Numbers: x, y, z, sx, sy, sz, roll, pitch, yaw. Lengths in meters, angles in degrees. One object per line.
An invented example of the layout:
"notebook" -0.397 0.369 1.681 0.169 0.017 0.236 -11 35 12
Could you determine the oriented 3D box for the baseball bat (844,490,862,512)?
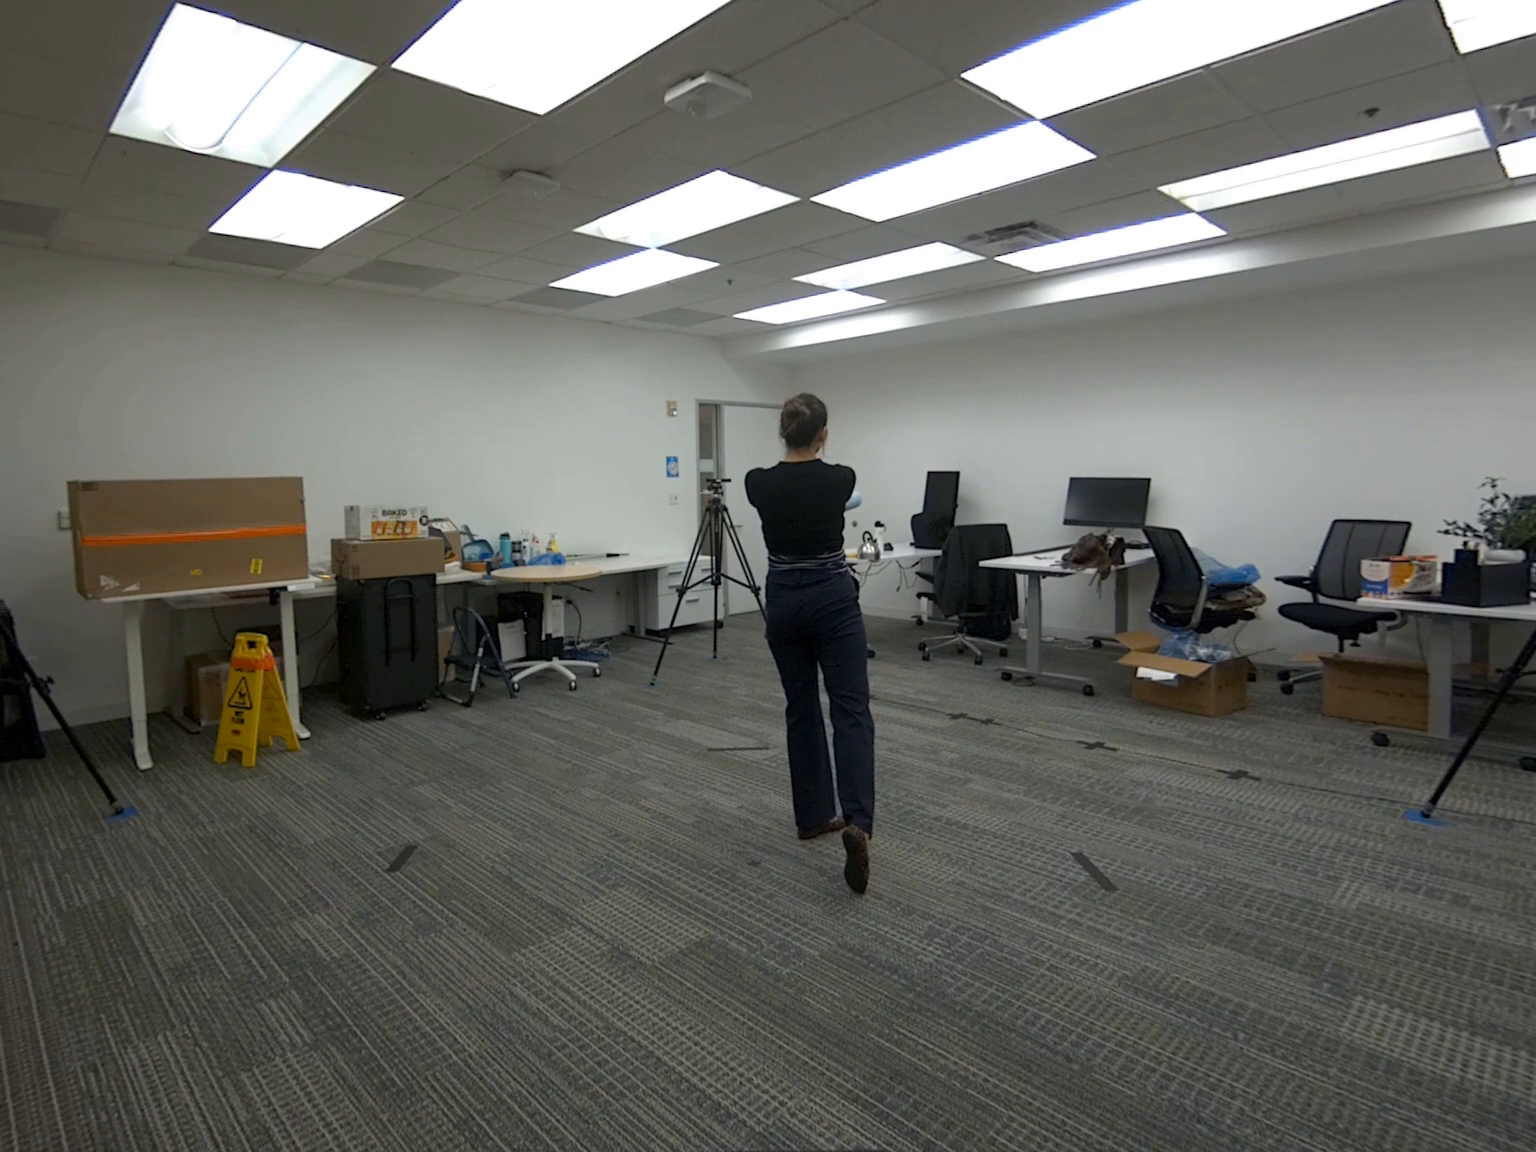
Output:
"baseball bat" 0.298 -0.310 3.886 0.091 0.088 0.534 2 13 32
